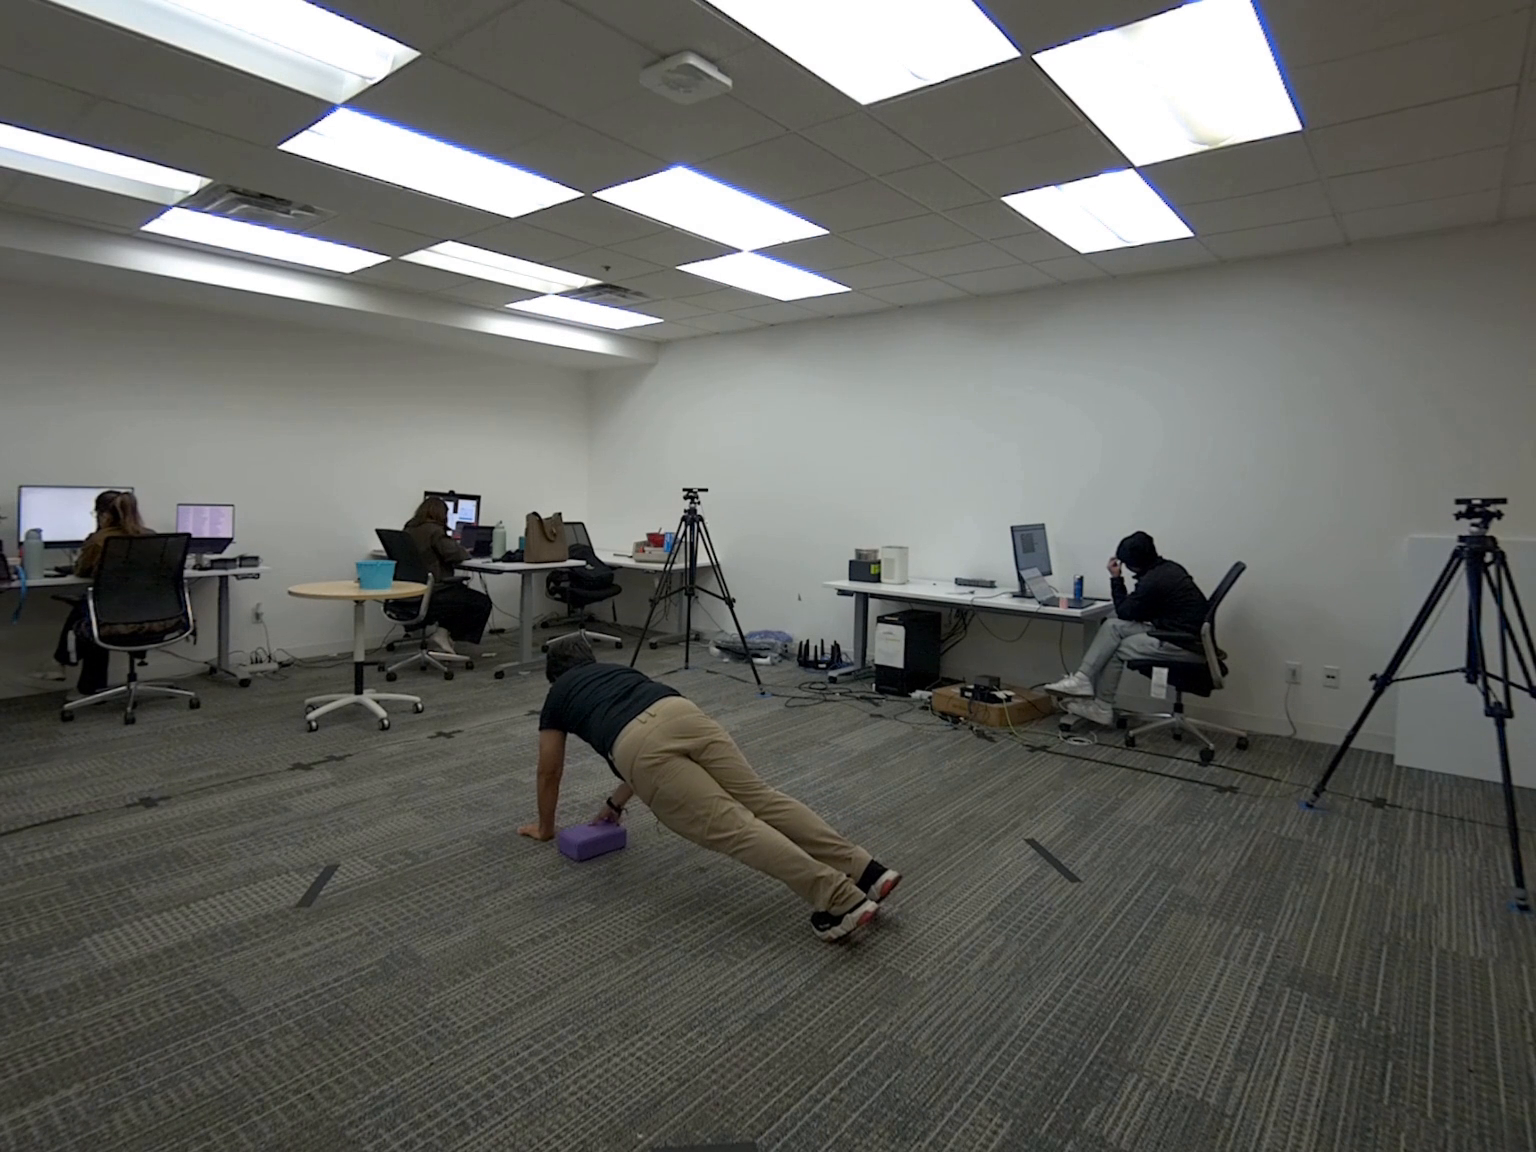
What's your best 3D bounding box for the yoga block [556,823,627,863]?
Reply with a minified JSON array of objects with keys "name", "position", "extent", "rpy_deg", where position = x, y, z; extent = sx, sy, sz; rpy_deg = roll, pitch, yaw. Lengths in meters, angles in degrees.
[{"name":"yoga block","position":[-0.684,1.007,3.267],"extent":[0.222,0.076,0.154],"rpy_deg":[-3,5,-44]}]
